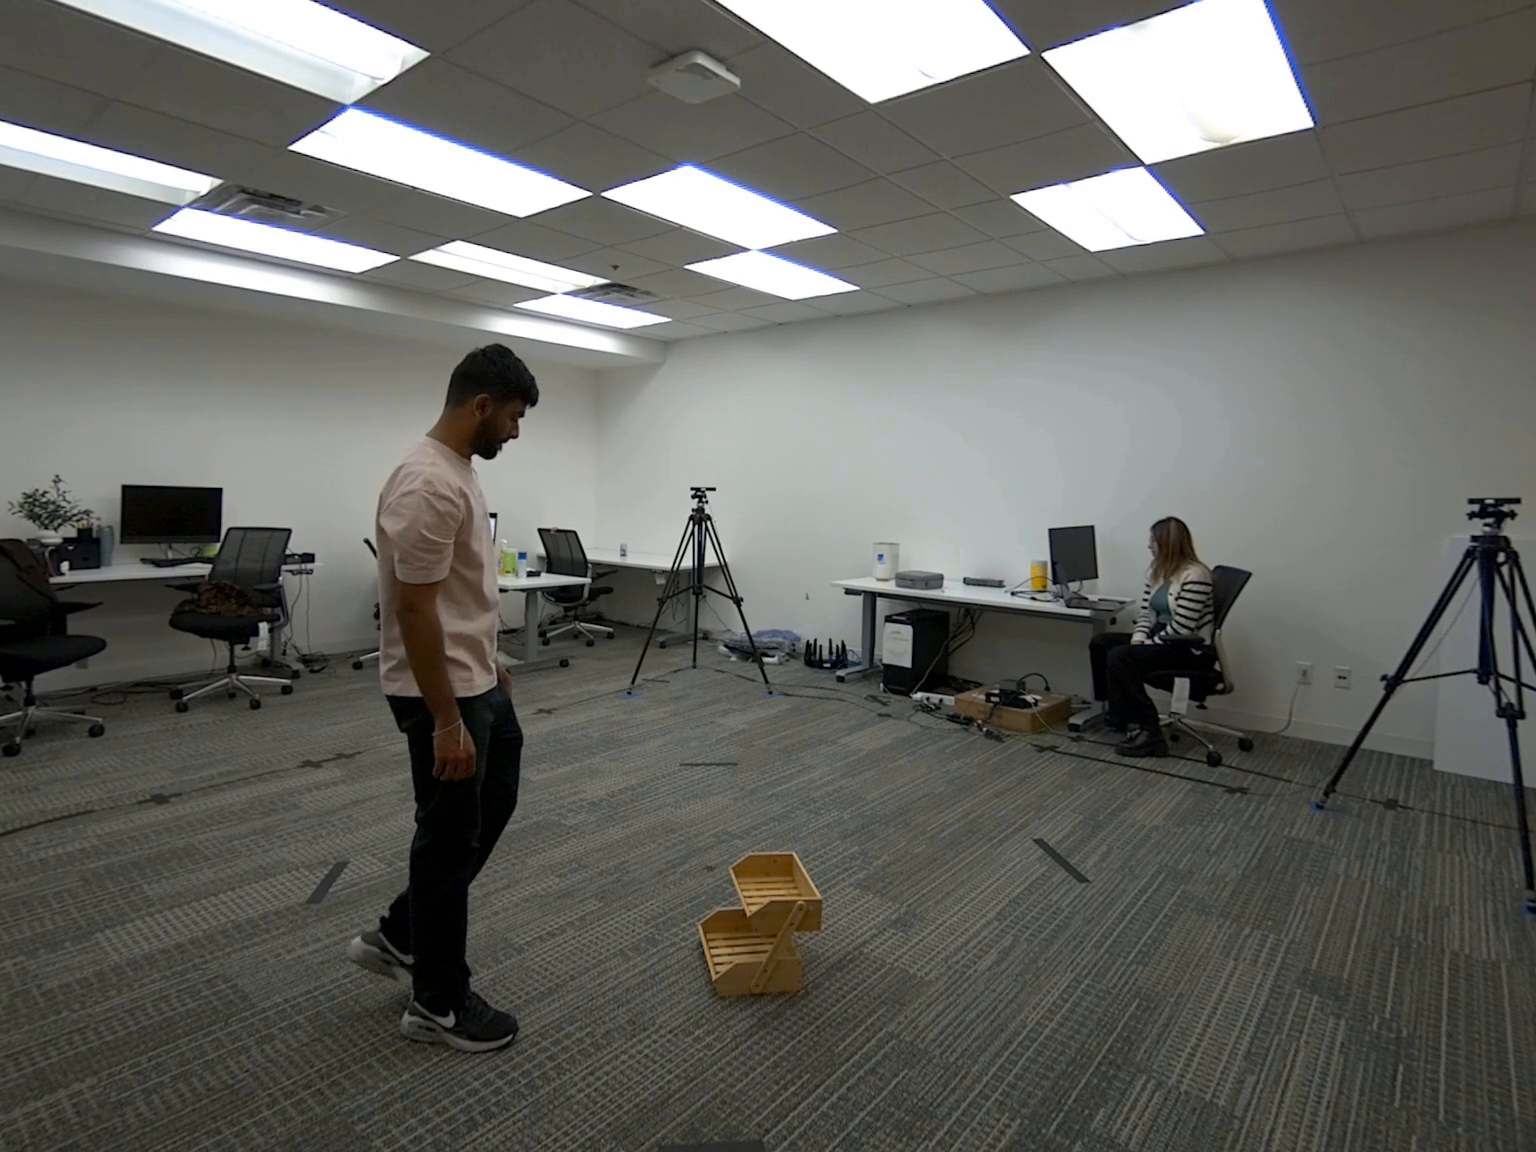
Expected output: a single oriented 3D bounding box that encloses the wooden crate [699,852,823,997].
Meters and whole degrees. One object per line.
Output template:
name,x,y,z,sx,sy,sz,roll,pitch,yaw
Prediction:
wooden crate,-0.042,0.997,2.477,0.298,0.272,0.330,1,5,-13
